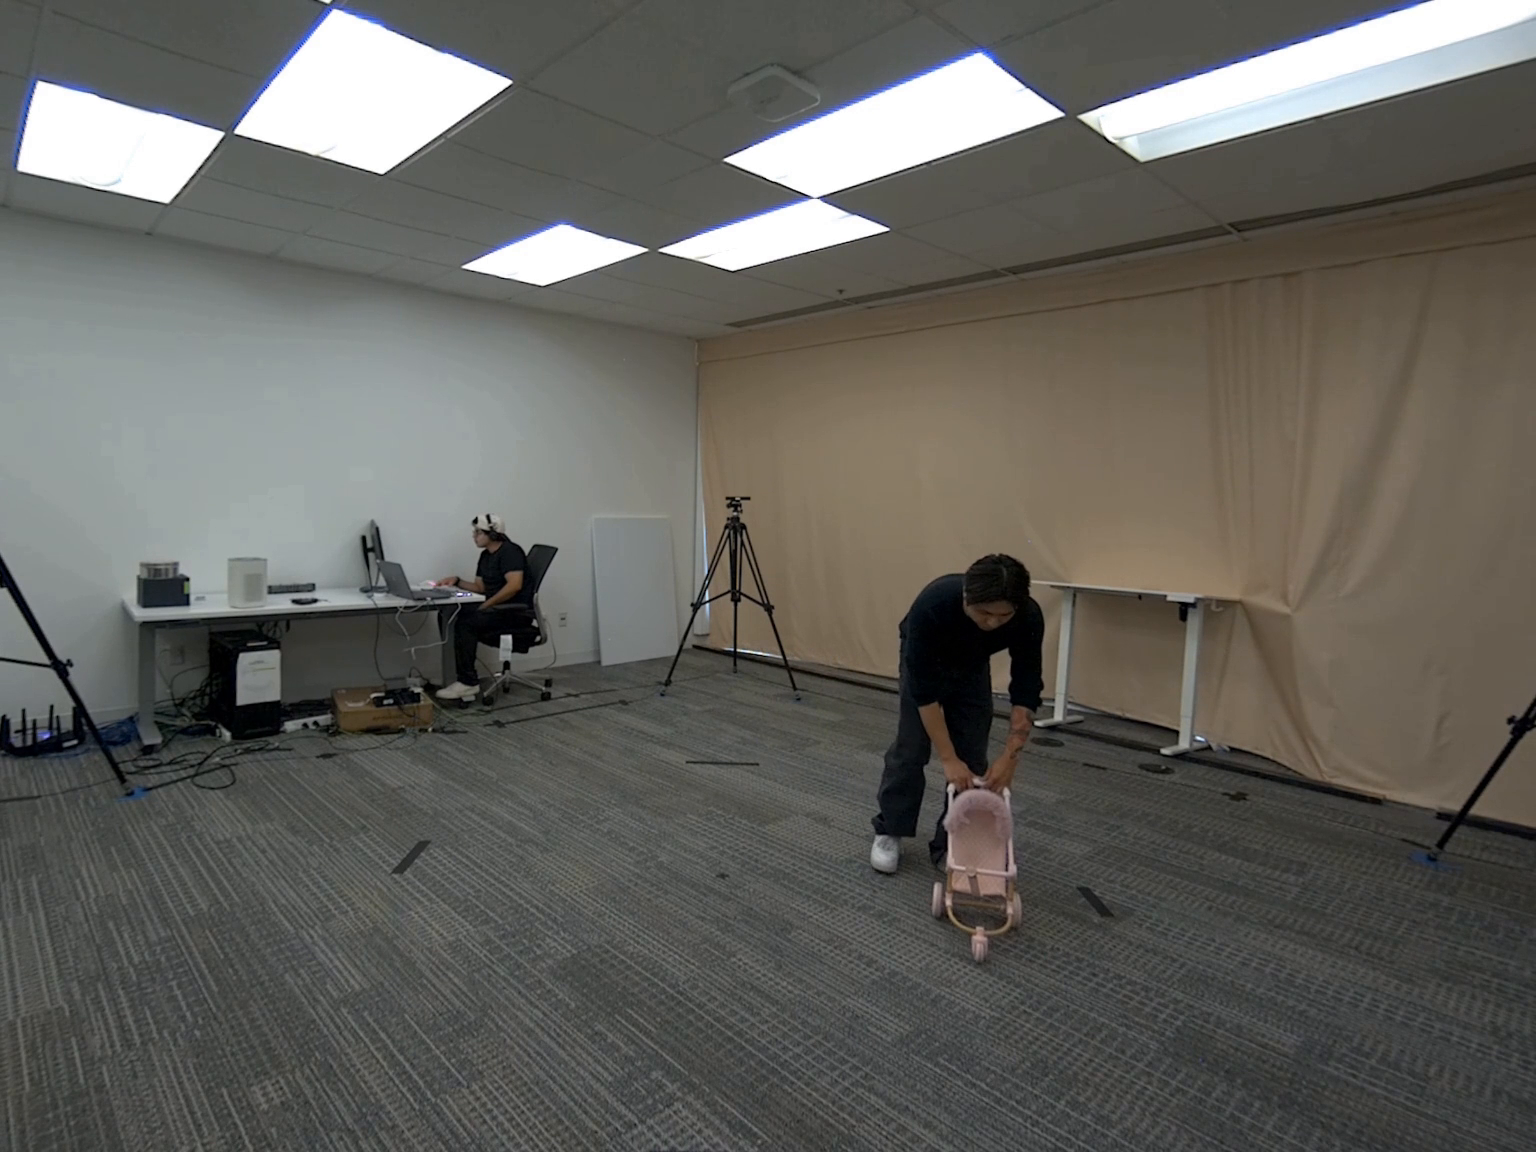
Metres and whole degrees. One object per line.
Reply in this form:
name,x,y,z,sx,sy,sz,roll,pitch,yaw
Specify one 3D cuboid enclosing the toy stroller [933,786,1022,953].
toy stroller,0.673,0.938,2.734,0.285,0.539,0.334,3,-12,16
